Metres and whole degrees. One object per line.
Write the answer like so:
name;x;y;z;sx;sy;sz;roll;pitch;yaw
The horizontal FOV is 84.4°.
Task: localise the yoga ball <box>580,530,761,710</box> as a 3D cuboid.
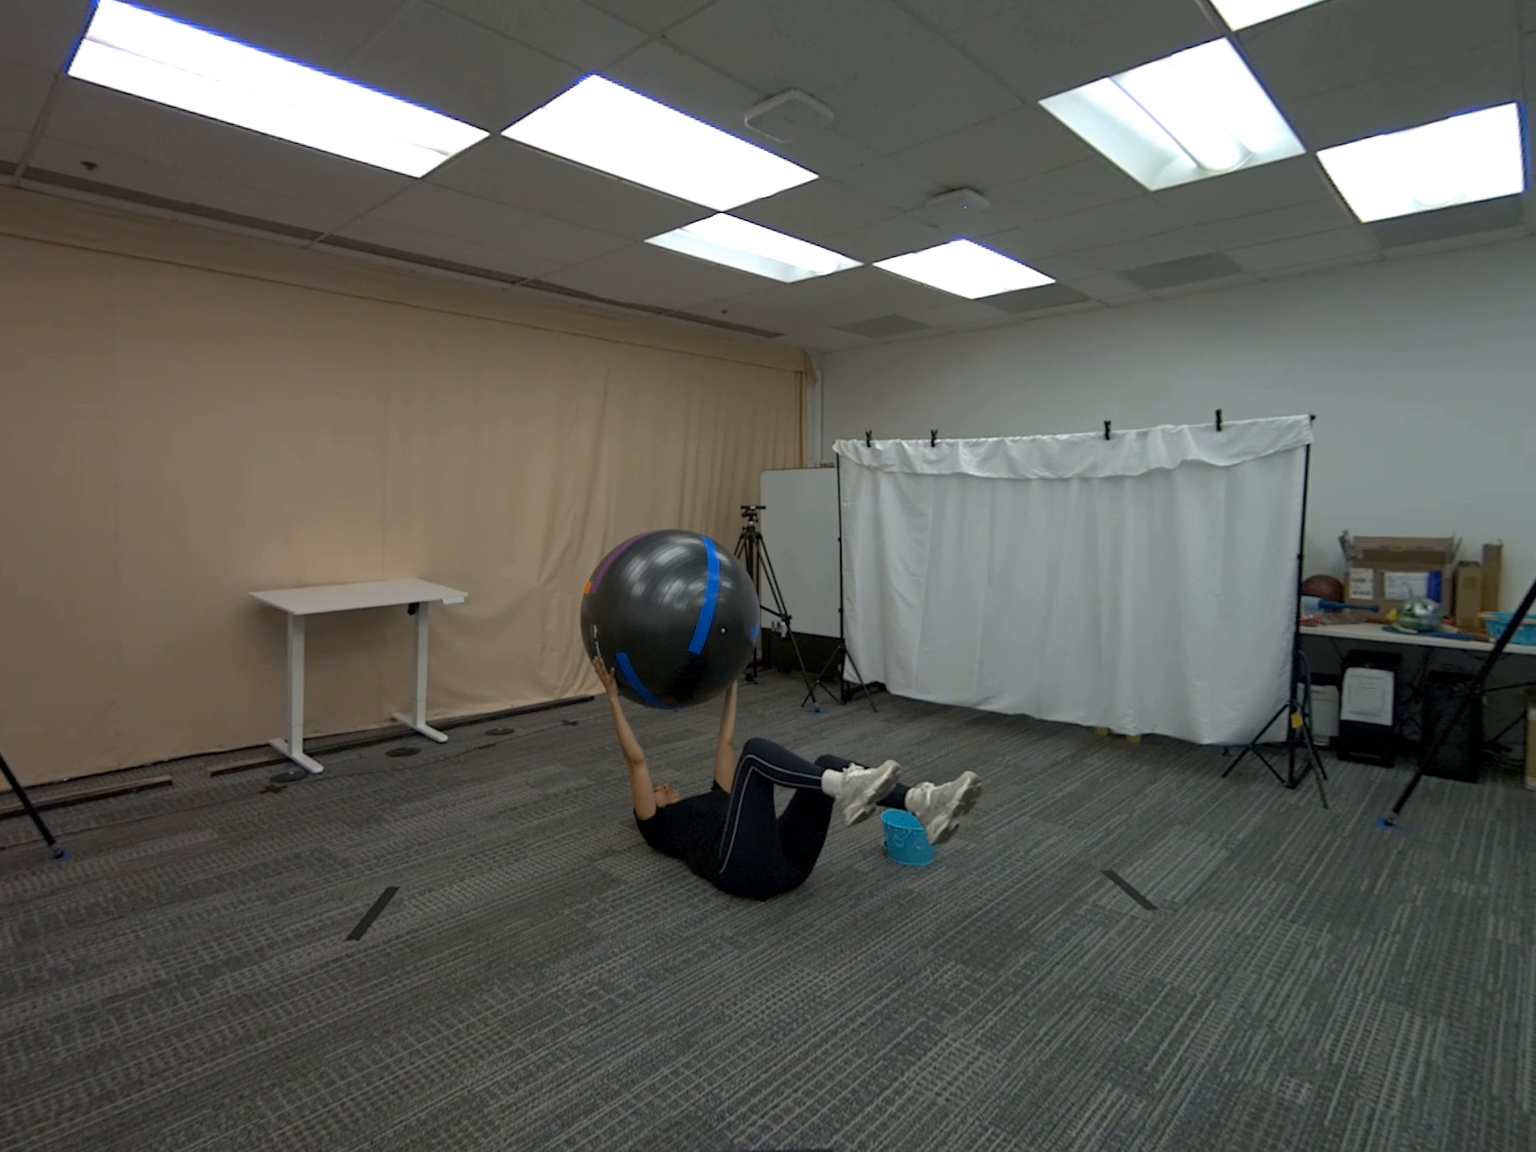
yoga ball;-0.412;0.183;3.561;0.757;0.756;0.761;3;5;-2
